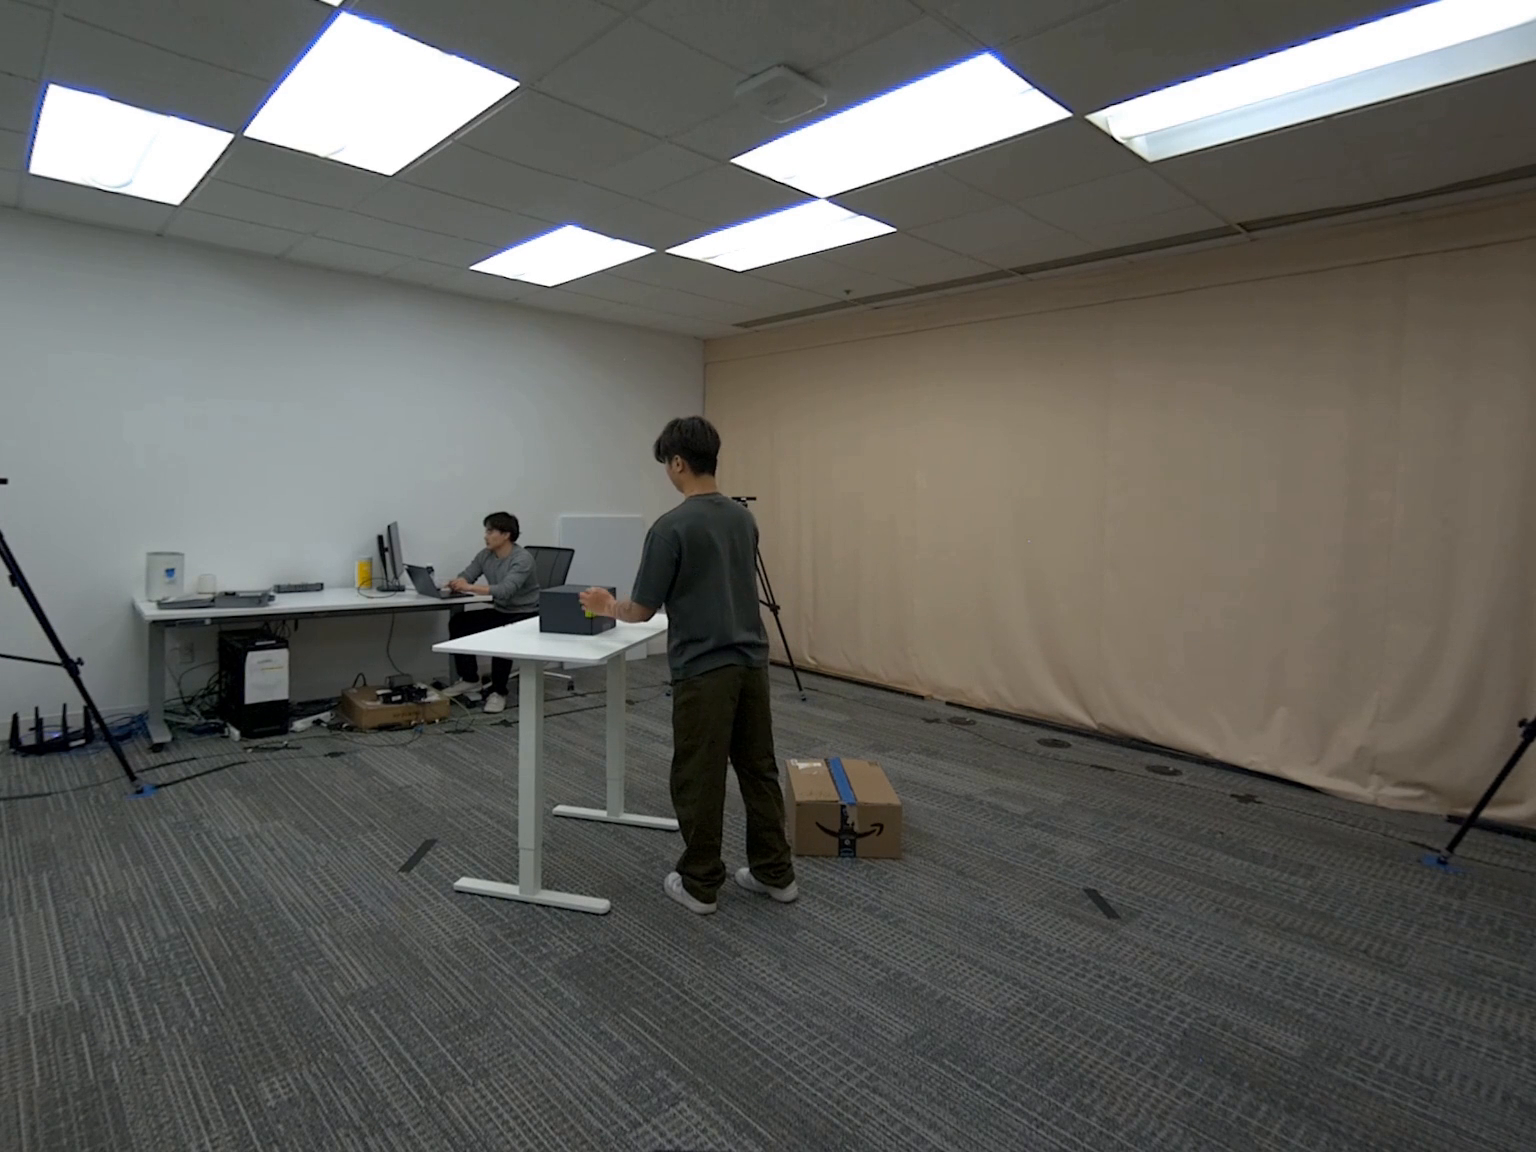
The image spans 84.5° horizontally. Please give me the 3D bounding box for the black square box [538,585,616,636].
[{"bbox_3d":[-0.723,0.122,3.182,0.219,0.155,0.226,2,6,14],"label":"black square box"}]
